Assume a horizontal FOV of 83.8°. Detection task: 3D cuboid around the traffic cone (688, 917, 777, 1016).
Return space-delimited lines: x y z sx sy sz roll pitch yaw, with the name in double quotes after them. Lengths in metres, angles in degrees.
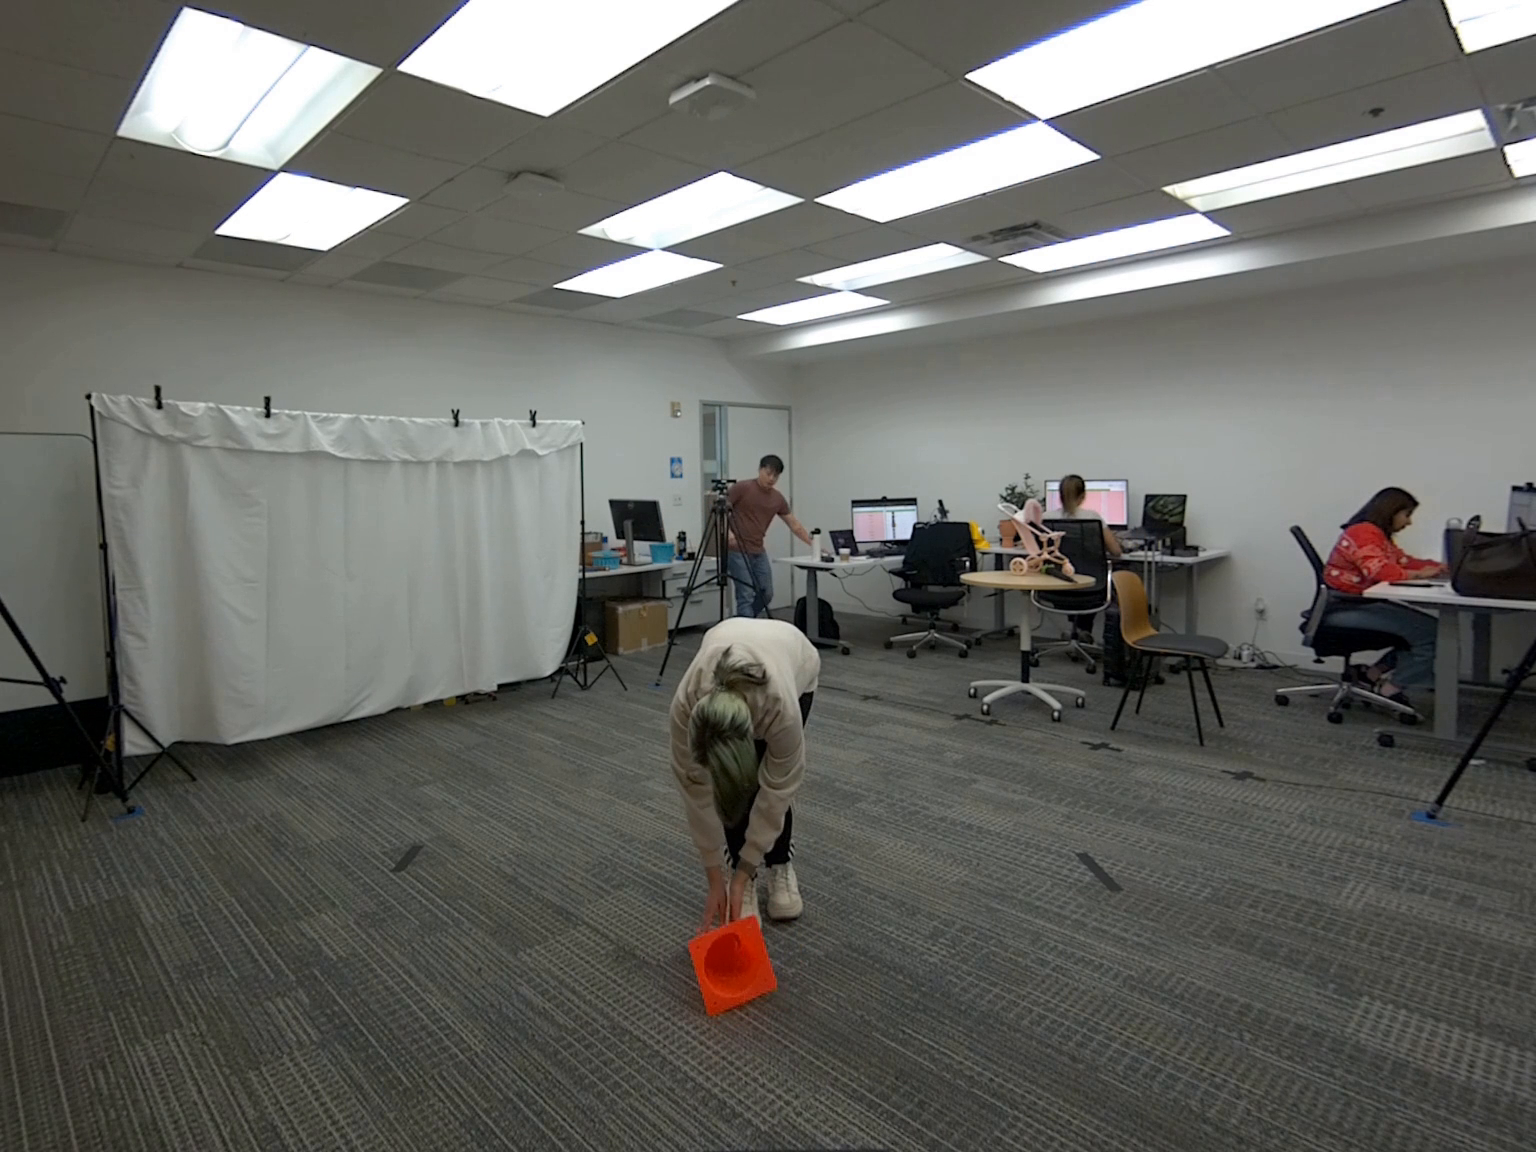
-0.152 1.064 2.448 0.201 0.206 0.386 -21 -3 -19 "traffic cone"
